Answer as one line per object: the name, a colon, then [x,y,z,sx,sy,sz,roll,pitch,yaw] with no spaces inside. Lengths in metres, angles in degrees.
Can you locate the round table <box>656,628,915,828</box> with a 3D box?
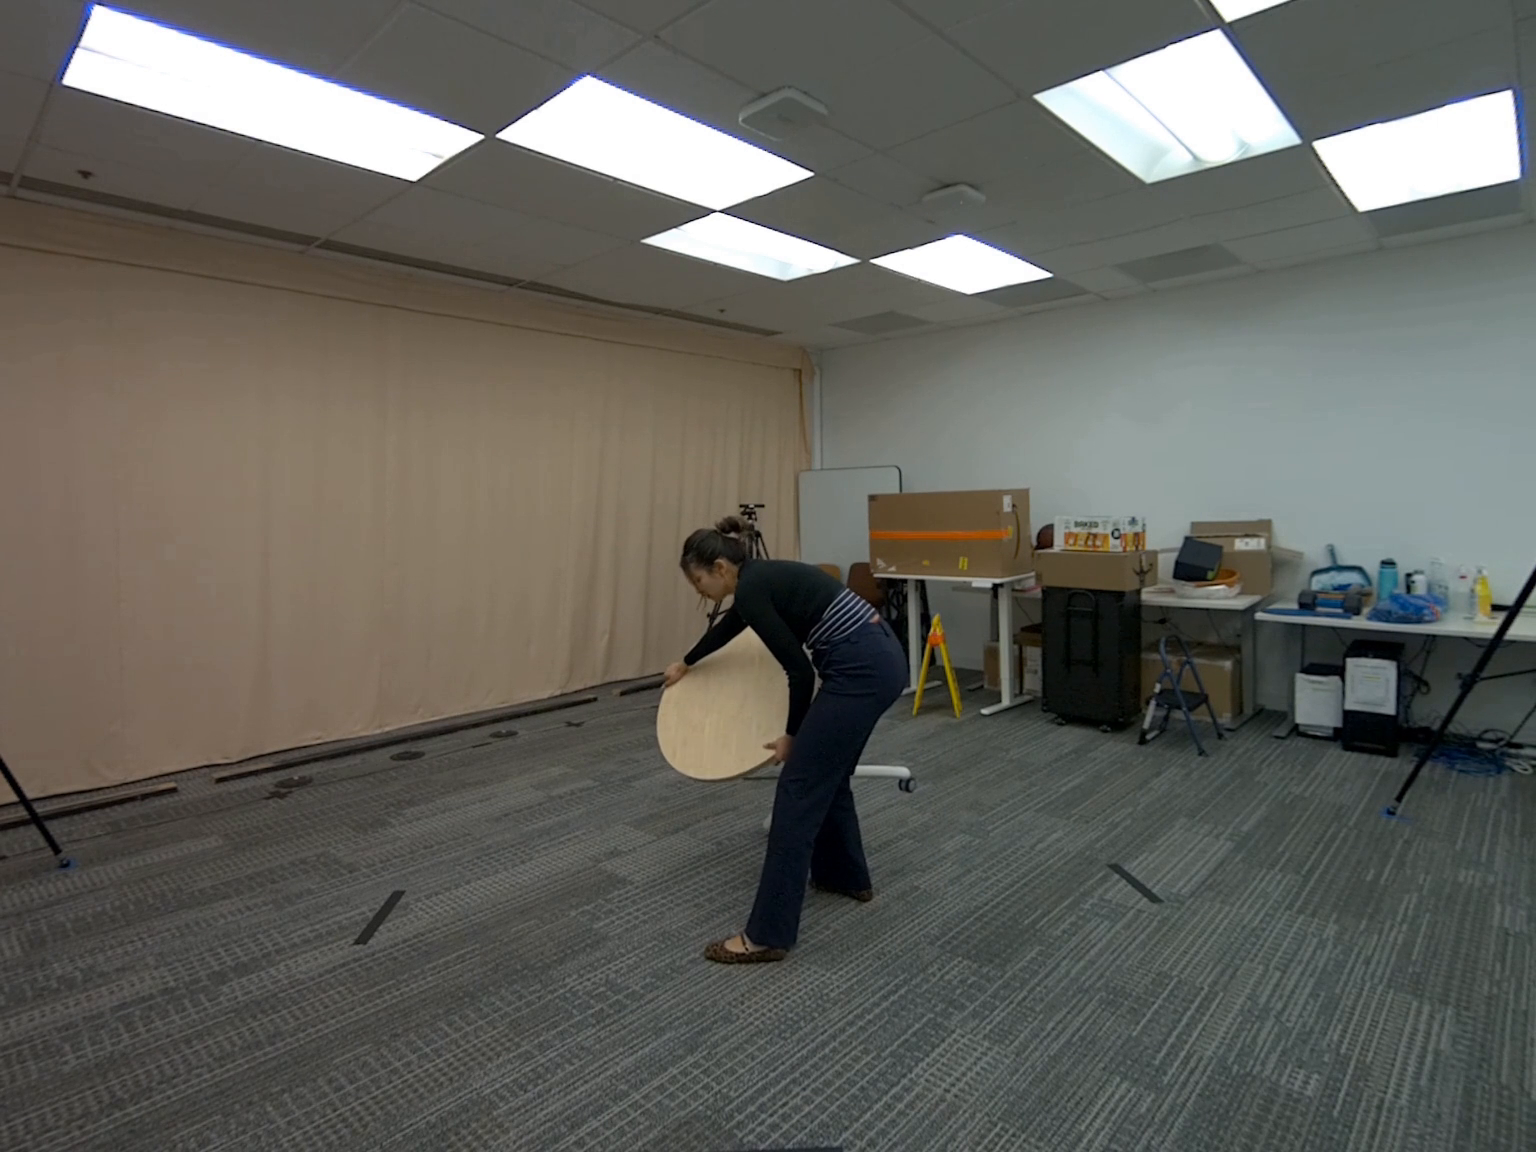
round table: [0.103,0.652,3.339,0.789,0.763,0.769,3,-37,46]
